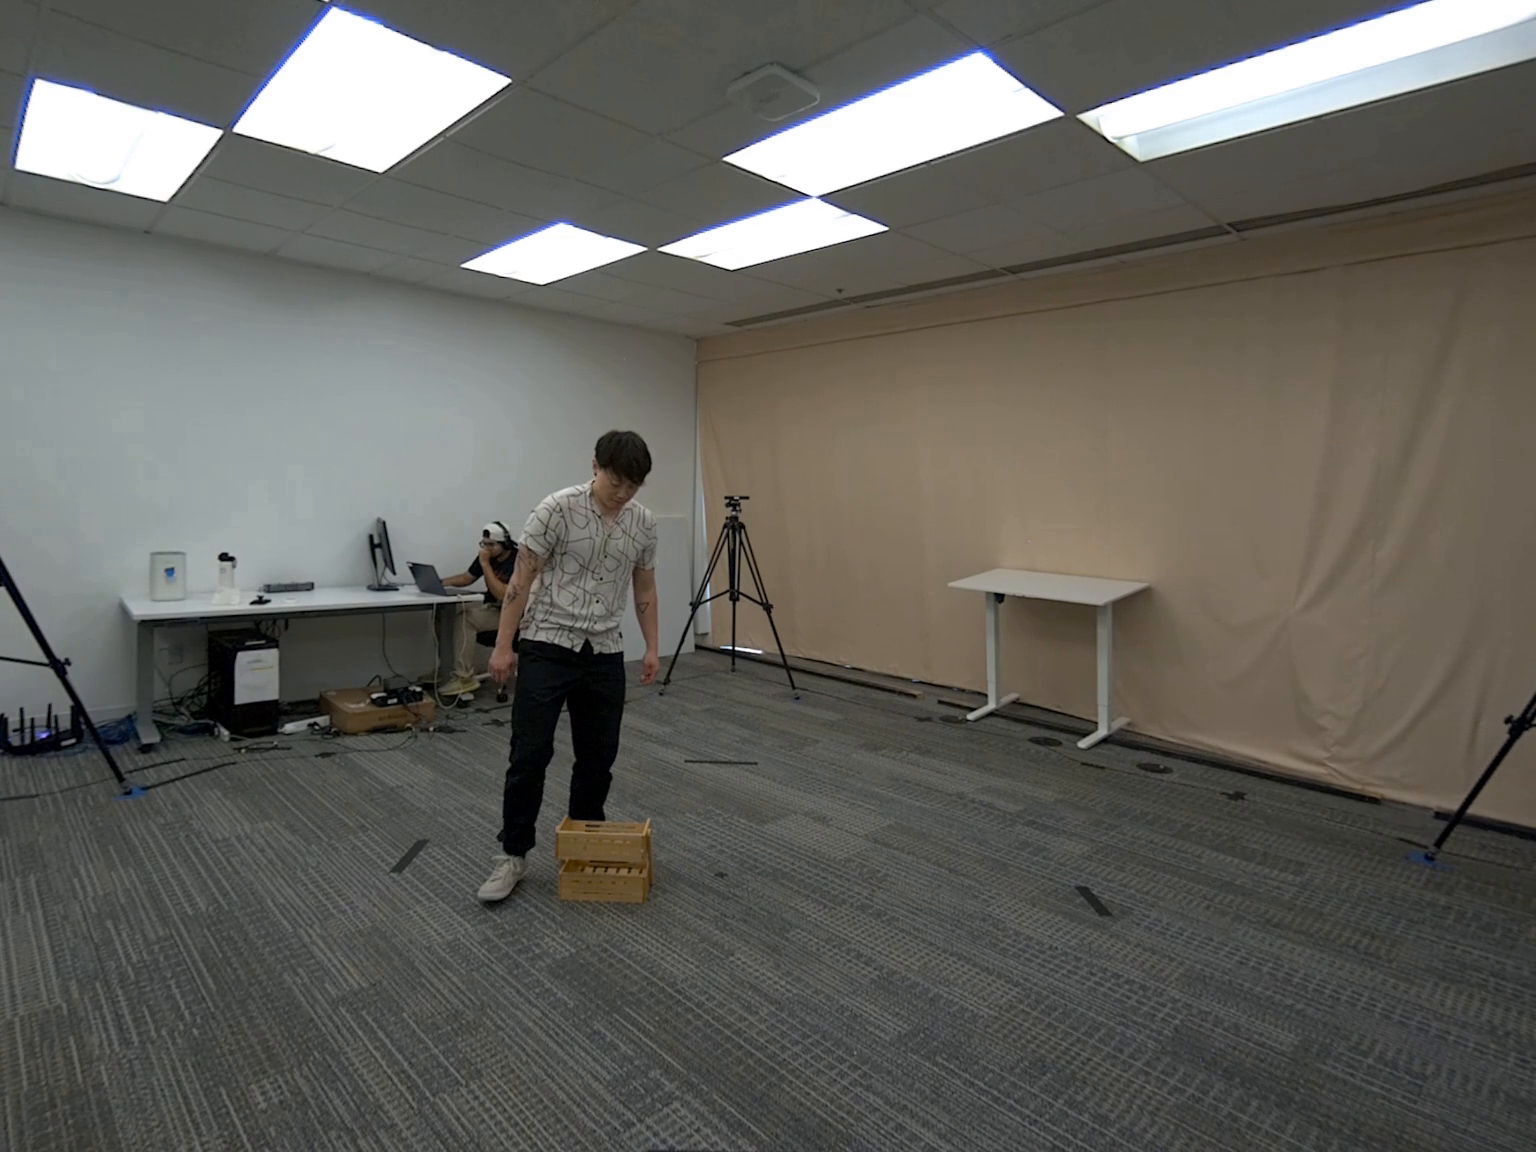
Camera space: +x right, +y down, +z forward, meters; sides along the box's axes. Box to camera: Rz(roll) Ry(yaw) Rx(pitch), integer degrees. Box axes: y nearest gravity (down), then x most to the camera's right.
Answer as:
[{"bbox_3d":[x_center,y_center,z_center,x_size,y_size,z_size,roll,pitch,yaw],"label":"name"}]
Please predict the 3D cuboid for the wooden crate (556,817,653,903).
[{"bbox_3d":[-0.575,0.975,2.968,0.324,0.272,0.303,1,4,0],"label":"wooden crate"}]
